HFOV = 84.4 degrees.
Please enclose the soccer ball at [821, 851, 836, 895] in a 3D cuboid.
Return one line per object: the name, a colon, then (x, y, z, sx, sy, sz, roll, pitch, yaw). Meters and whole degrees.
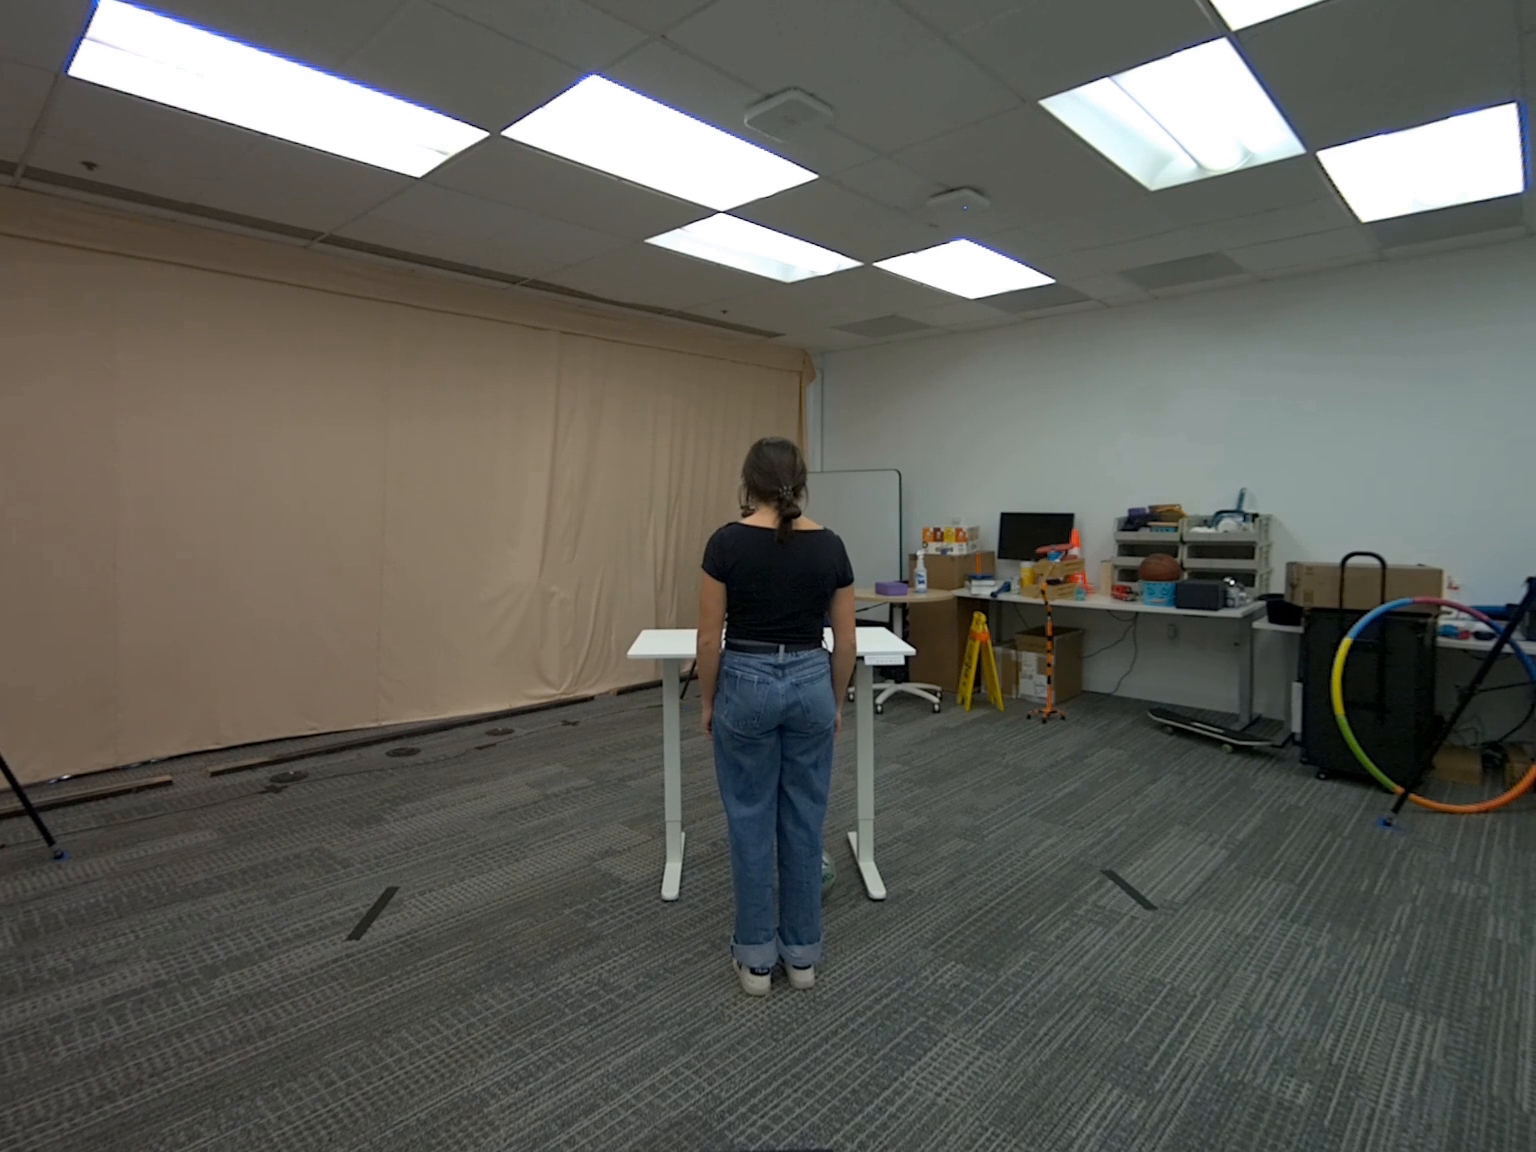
soccer ball: (0.164, 1.057, 2.975, 0.187, 0.187, 0.188, 0, 4, -2)
